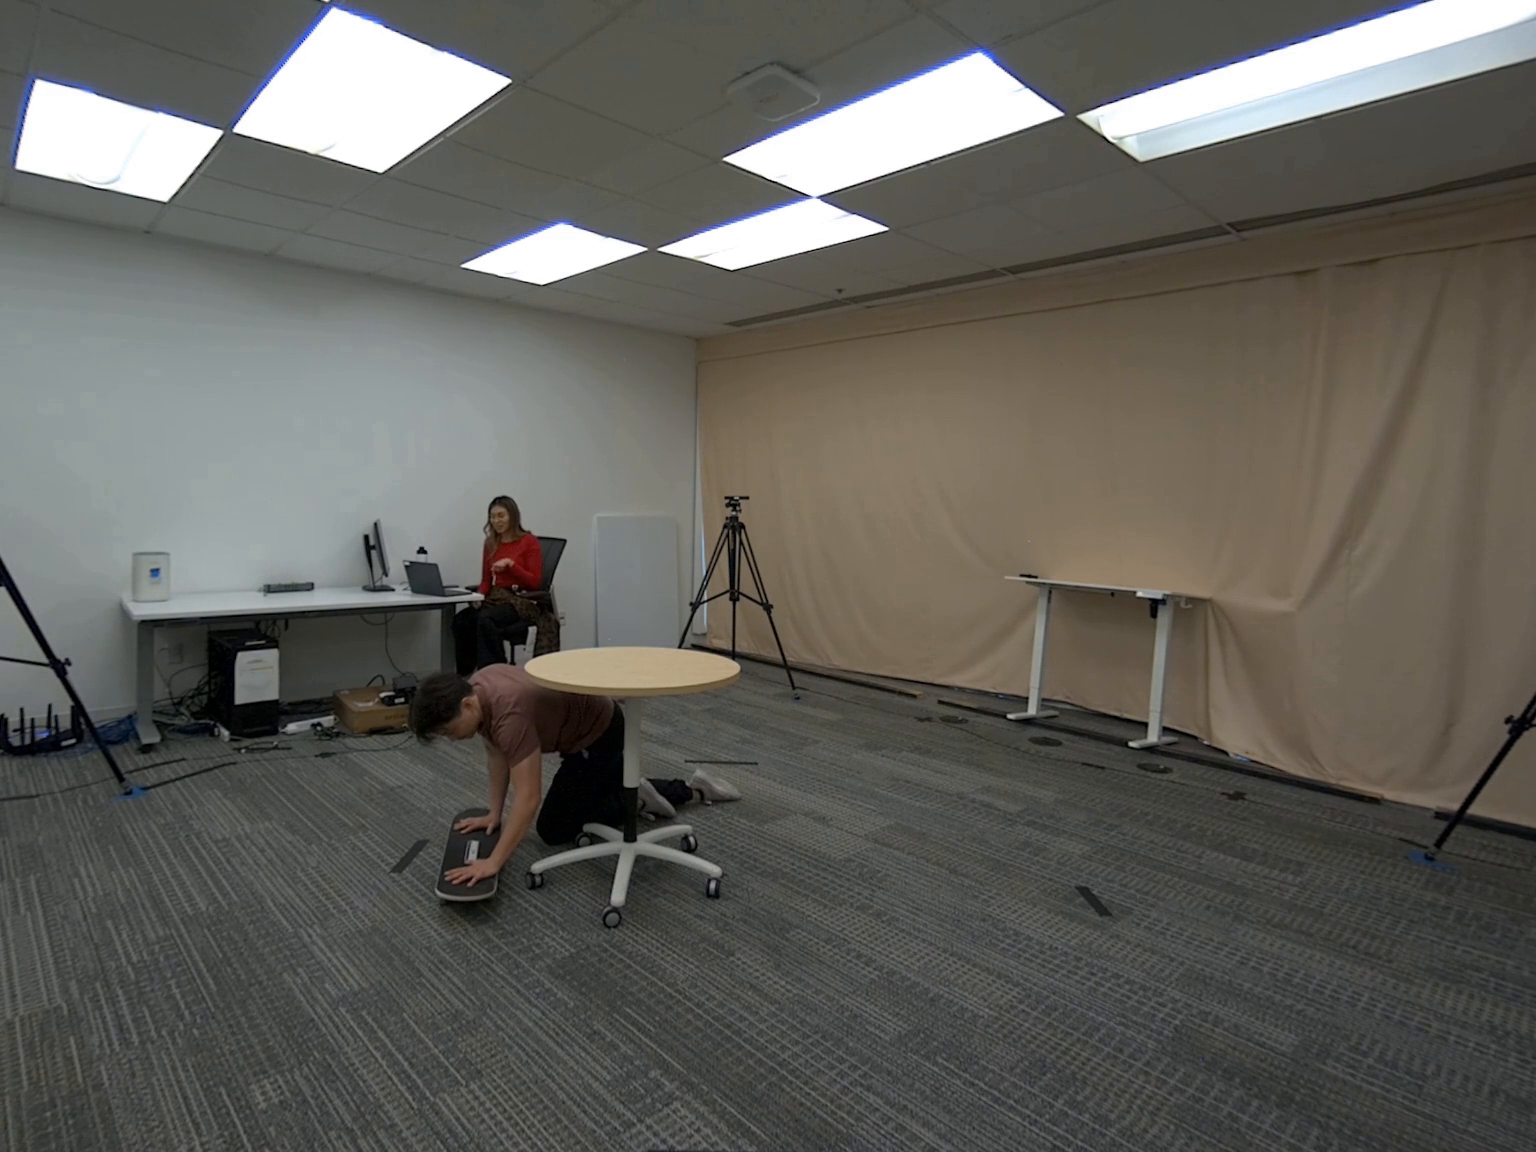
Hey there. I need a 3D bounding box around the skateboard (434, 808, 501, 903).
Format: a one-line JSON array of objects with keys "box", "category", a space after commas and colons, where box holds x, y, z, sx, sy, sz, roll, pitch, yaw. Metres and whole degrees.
[{"box": [-1.079, 1.034, 3.036, 0.191, 0.110, 0.796, 3, 4, -15], "category": "skateboard"}]
